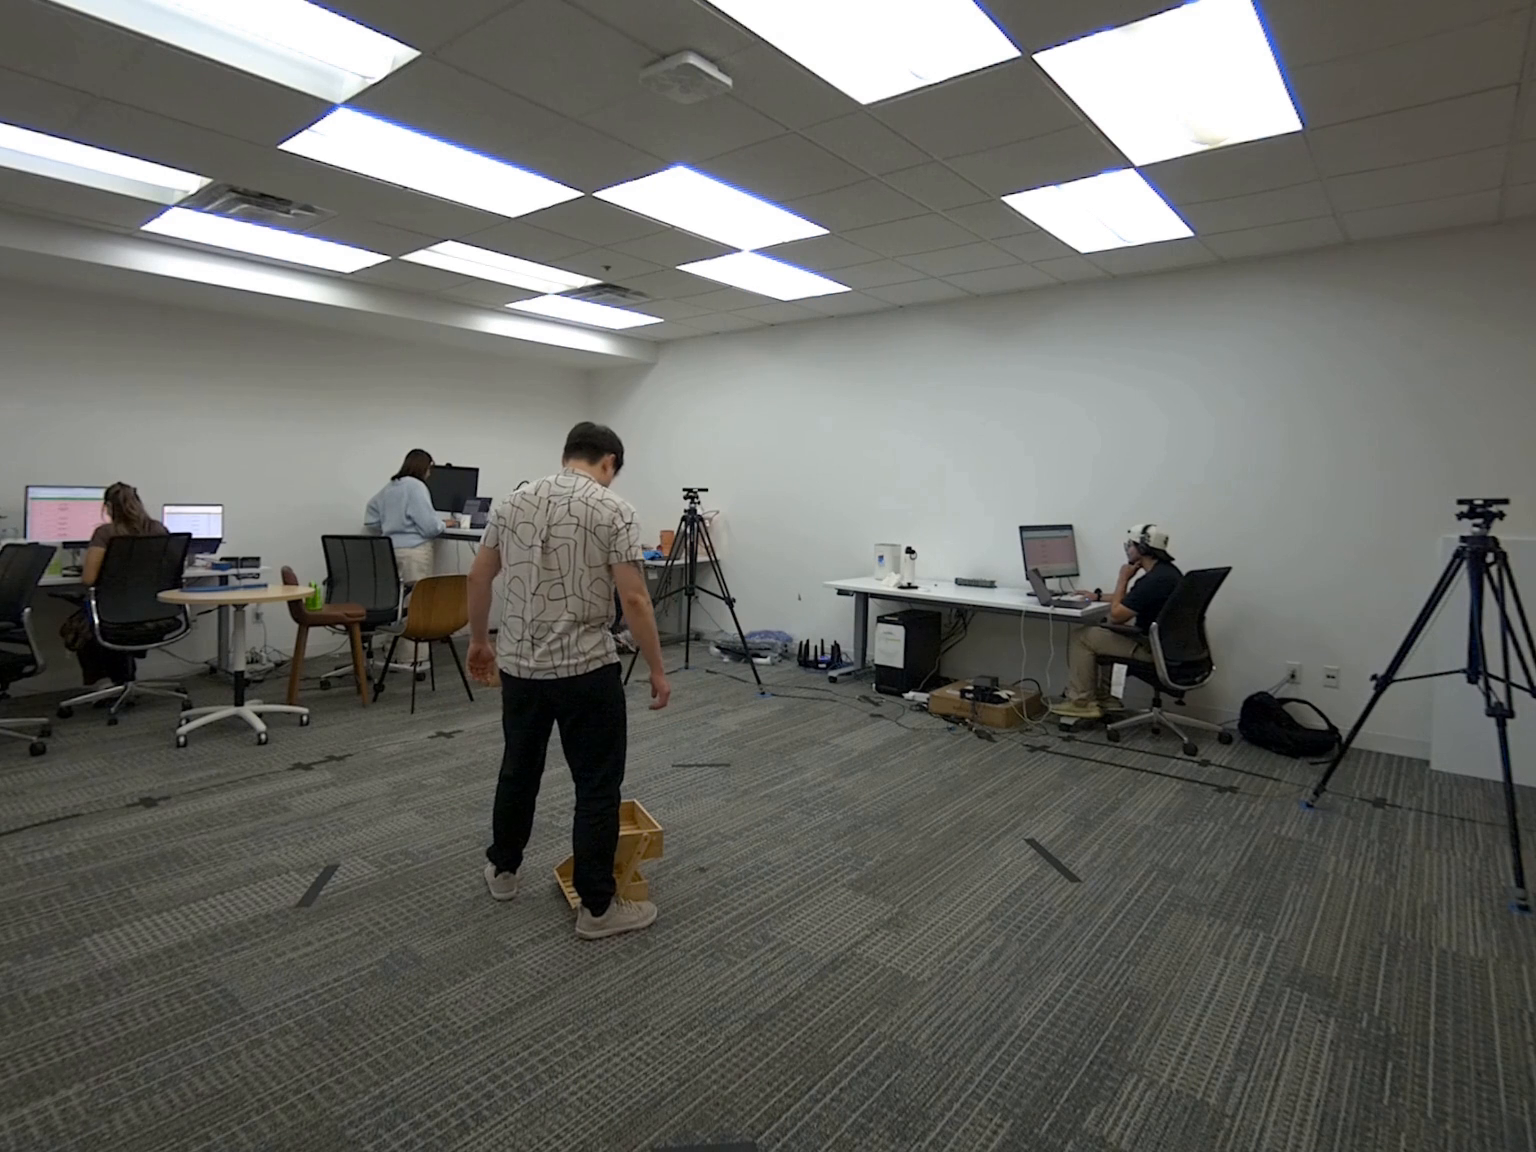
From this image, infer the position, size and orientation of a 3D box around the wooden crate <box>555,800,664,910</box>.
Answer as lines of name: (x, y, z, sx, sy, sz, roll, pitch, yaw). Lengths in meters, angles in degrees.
wooden crate: (-0.565, 0.951, 2.893, 0.295, 0.272, 0.333, -1, 5, -26)
